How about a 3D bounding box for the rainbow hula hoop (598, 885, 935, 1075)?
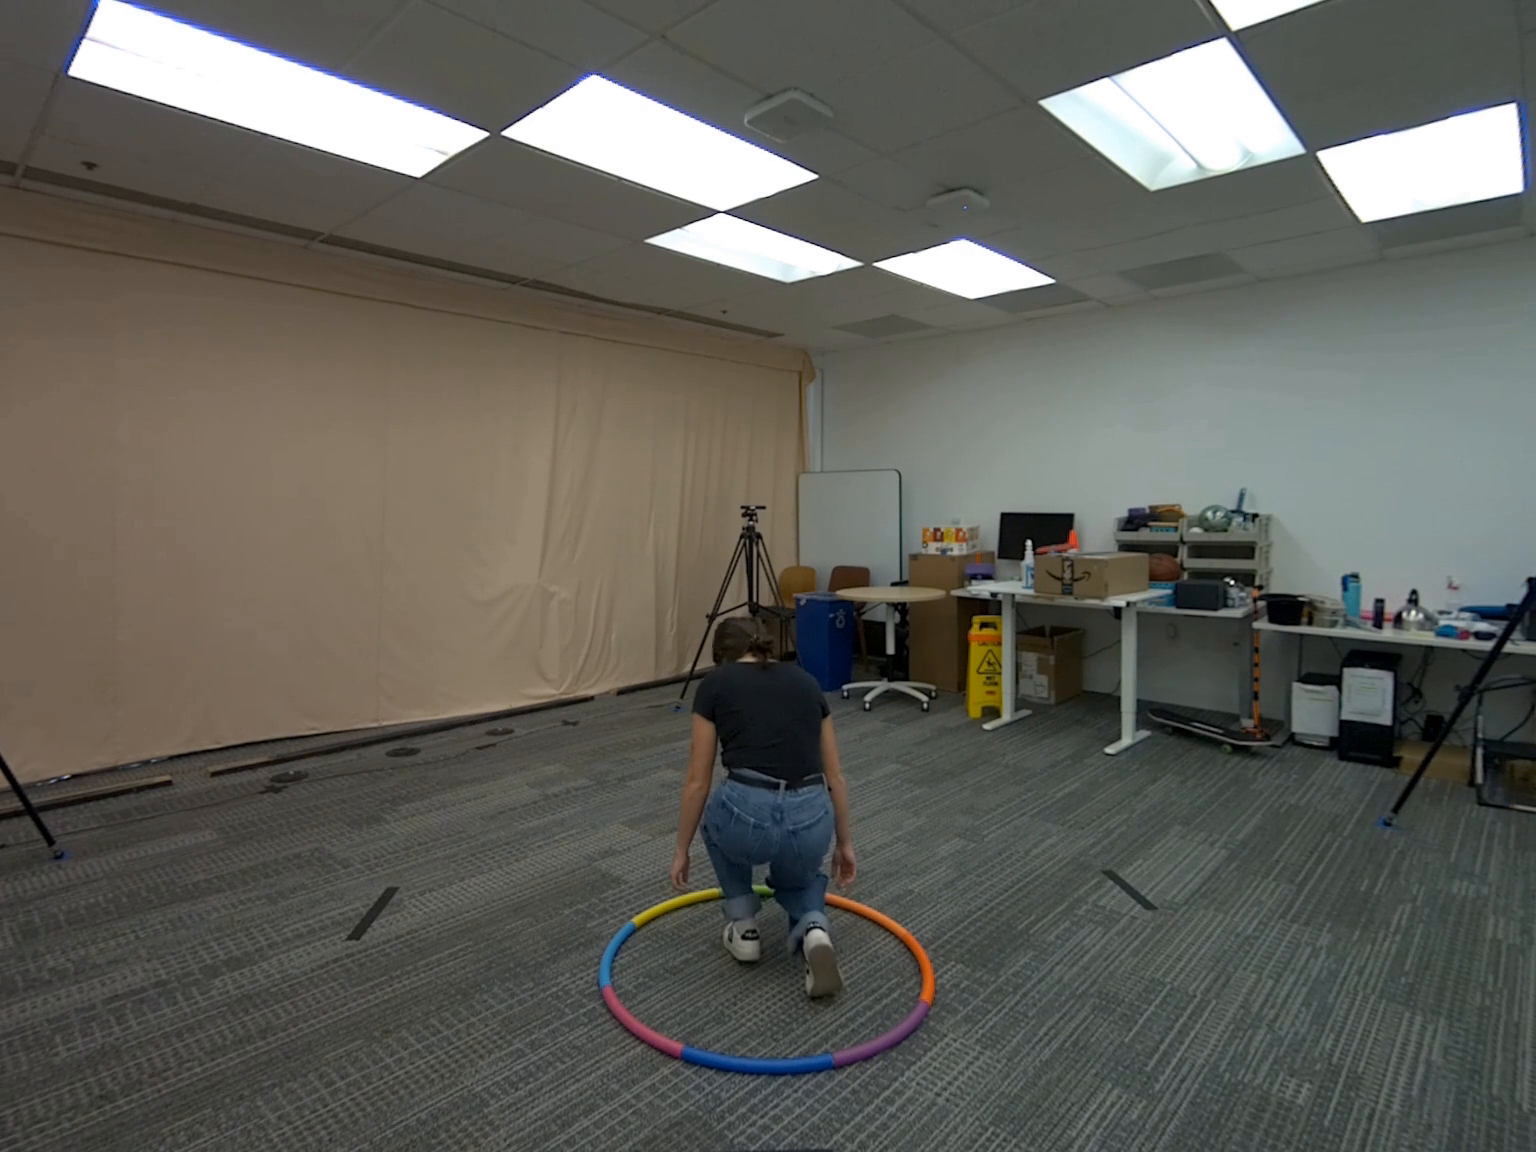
[{"bbox_3d":[-0.002,1.152,2.540,0.978,0.035,0.982,-1,5,-2],"label":"rainbow hula hoop"}]
